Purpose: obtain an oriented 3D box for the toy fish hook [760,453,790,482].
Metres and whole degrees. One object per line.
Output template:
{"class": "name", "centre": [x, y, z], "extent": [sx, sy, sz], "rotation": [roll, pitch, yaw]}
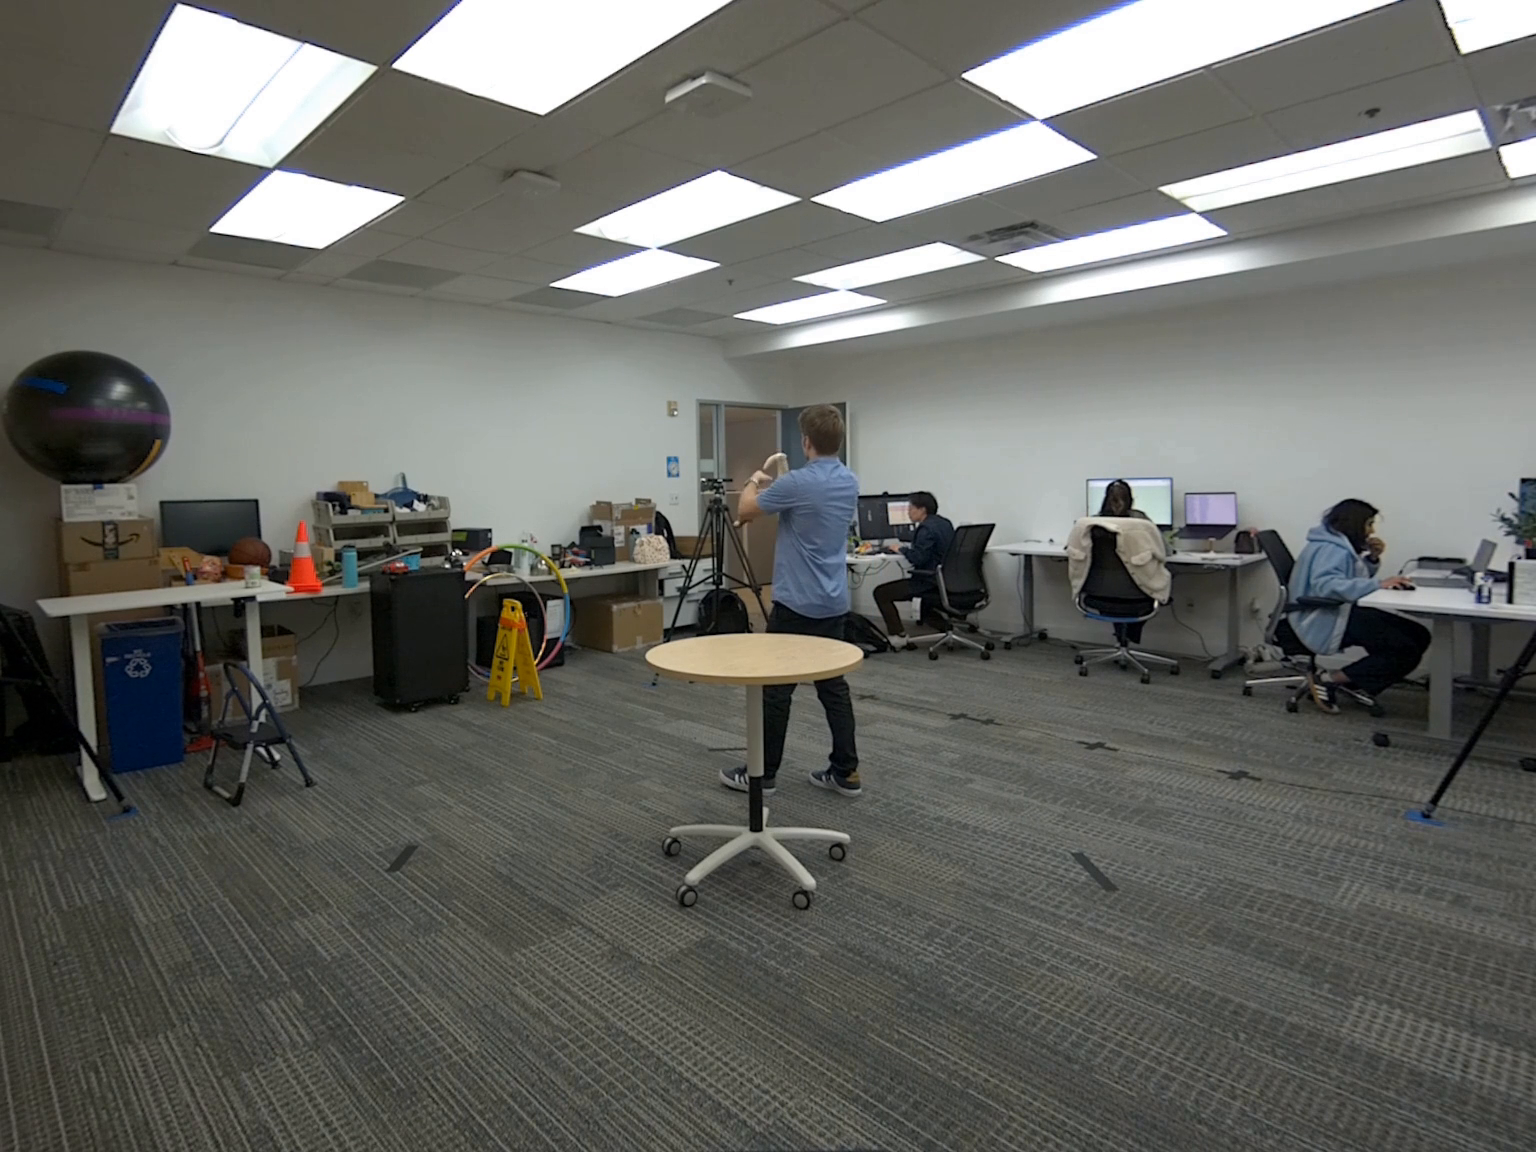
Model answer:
{"class": "toy fish hook", "centre": [-0.029, -0.420, 4.178], "extent": [0.050, 0.217, 0.508], "rotation": [7, 42, 31]}
